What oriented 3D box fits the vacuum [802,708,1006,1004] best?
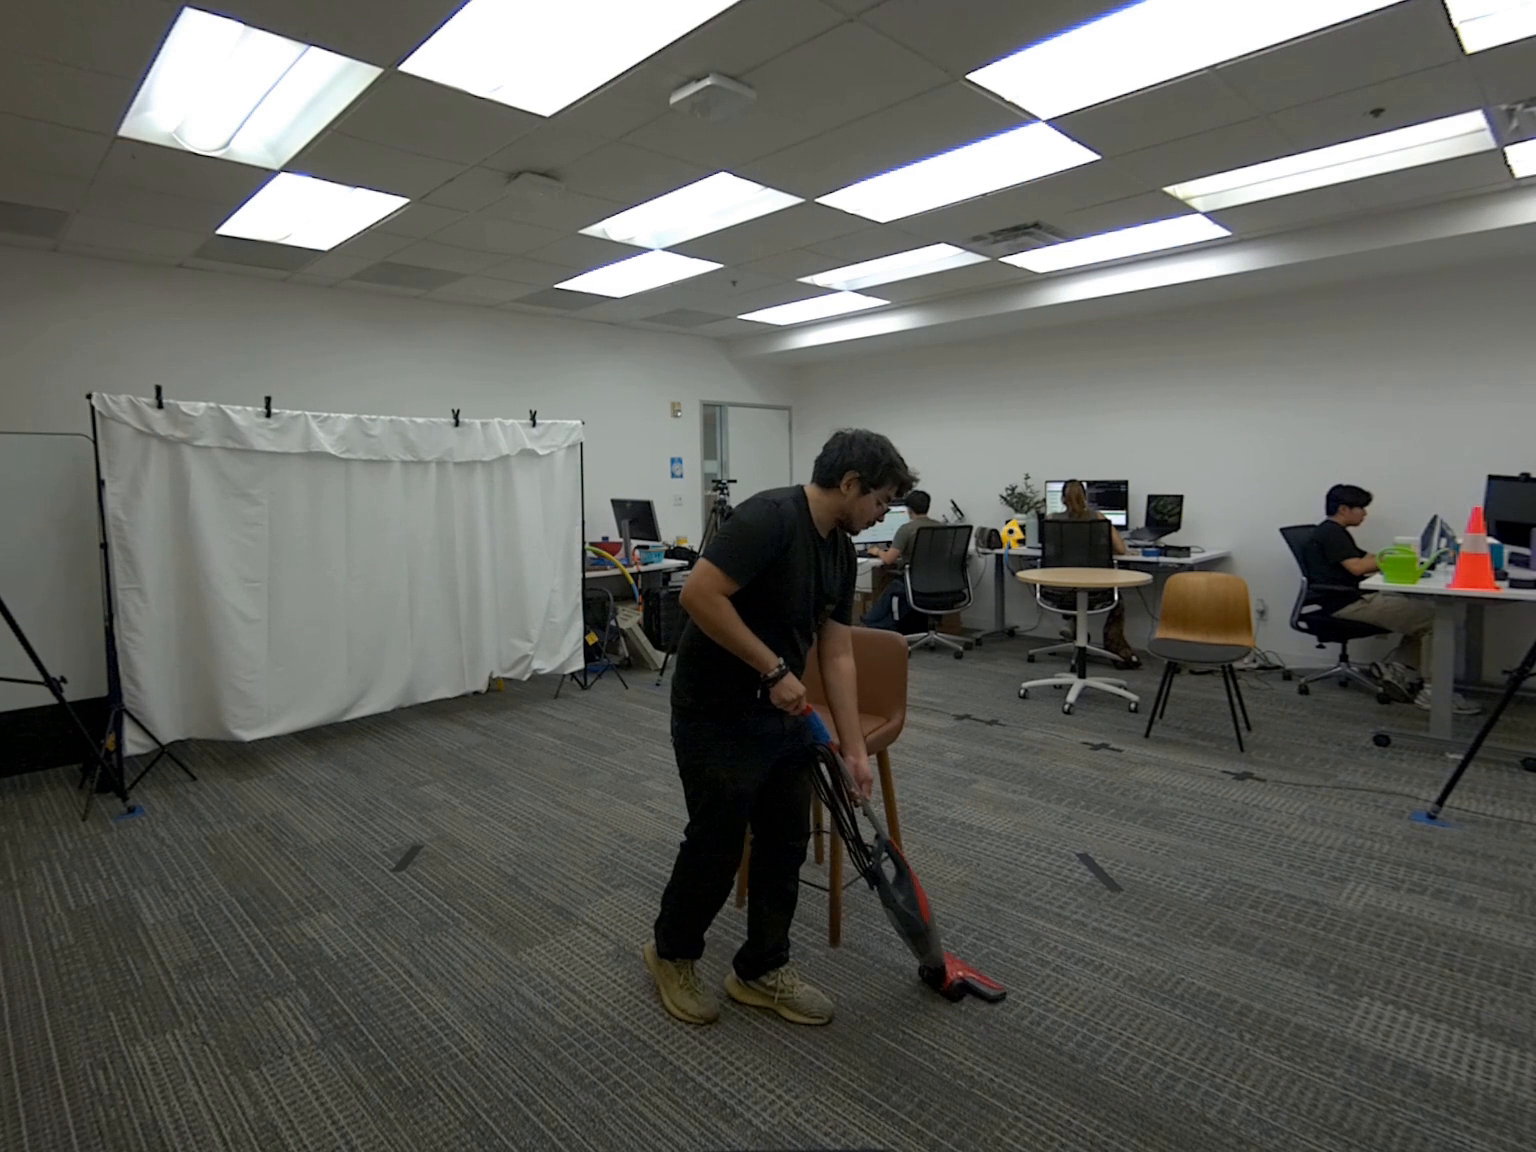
[{"bbox_3d":[0.286,0.694,2.185,0.143,1.024,0.260,-38,22,-26],"label":"vacuum"}]
